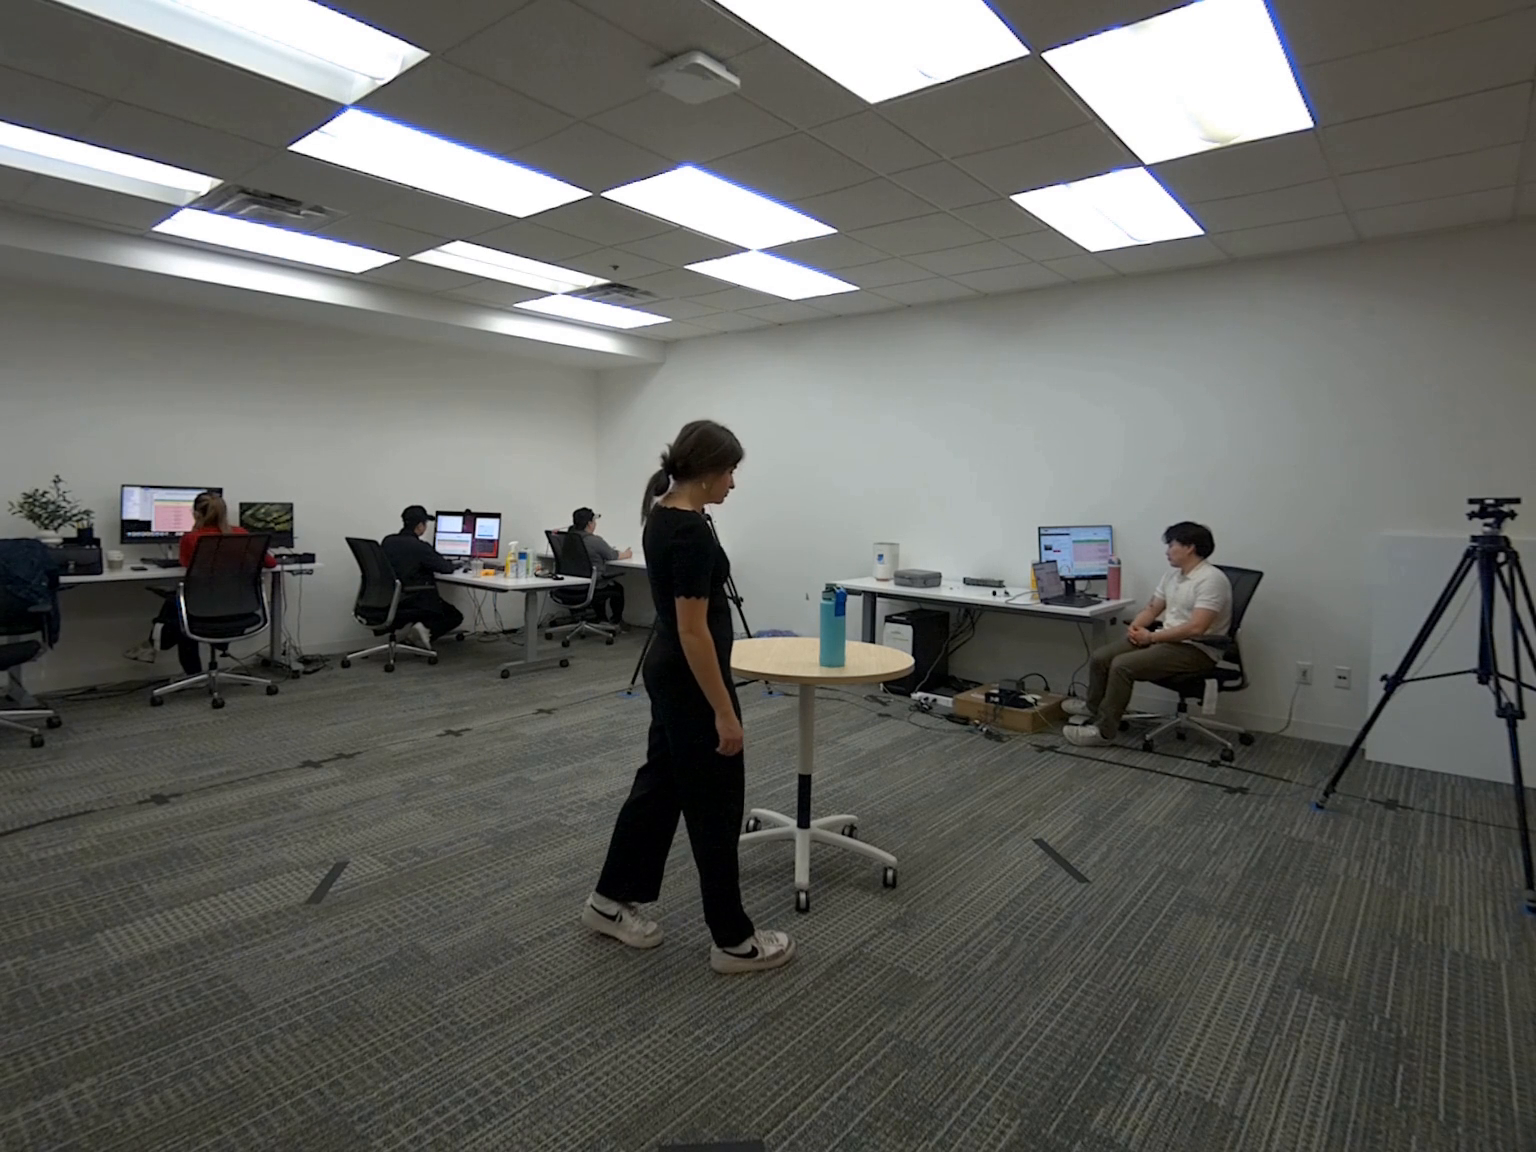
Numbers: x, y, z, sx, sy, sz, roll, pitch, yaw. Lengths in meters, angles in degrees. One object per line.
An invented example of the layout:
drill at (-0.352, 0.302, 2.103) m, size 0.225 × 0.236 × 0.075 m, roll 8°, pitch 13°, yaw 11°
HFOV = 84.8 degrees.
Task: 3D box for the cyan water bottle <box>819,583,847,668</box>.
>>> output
cyan water bottle at (0.217, 0.166, 2.936) m, size 0.092 × 0.282 × 0.093 m, roll 0°, pitch 5°, yaw -2°
